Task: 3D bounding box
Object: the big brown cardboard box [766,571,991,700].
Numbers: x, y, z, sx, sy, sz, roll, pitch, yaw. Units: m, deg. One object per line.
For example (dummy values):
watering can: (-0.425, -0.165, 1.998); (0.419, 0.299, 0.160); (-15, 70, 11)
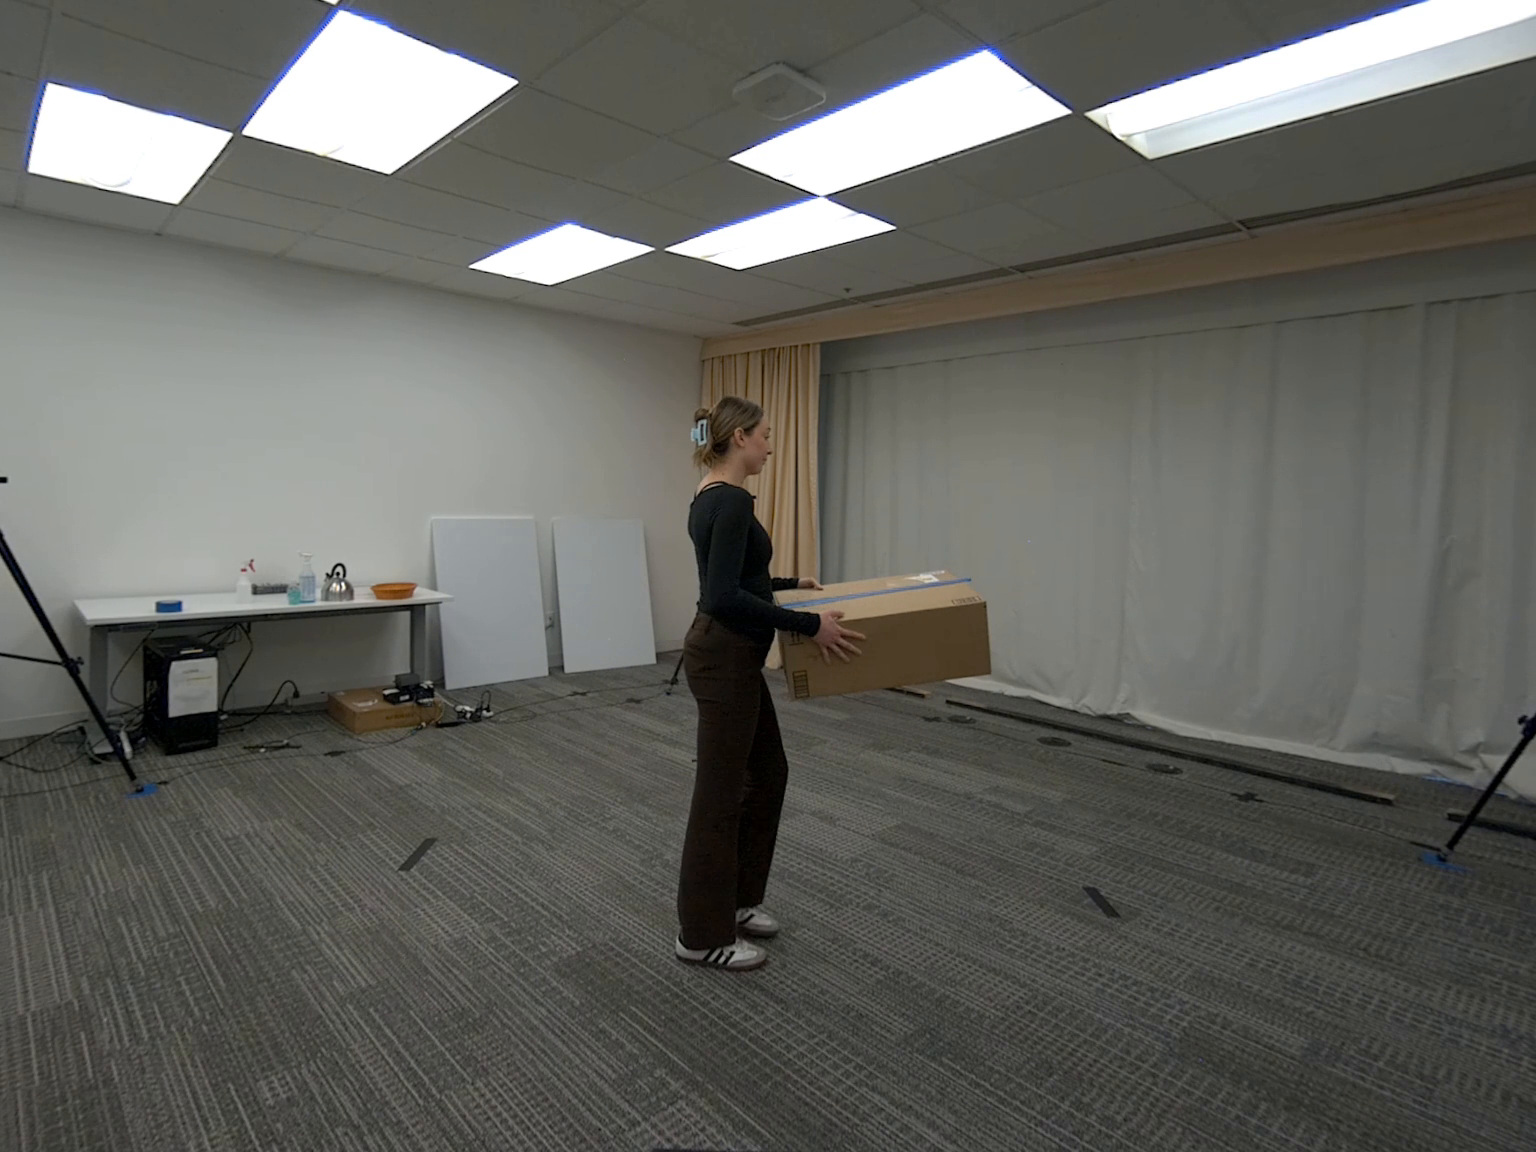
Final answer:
big brown cardboard box: (0.329, 0.157, 2.513); (0.588, 0.231, 0.422); (-9, 12, -3)
